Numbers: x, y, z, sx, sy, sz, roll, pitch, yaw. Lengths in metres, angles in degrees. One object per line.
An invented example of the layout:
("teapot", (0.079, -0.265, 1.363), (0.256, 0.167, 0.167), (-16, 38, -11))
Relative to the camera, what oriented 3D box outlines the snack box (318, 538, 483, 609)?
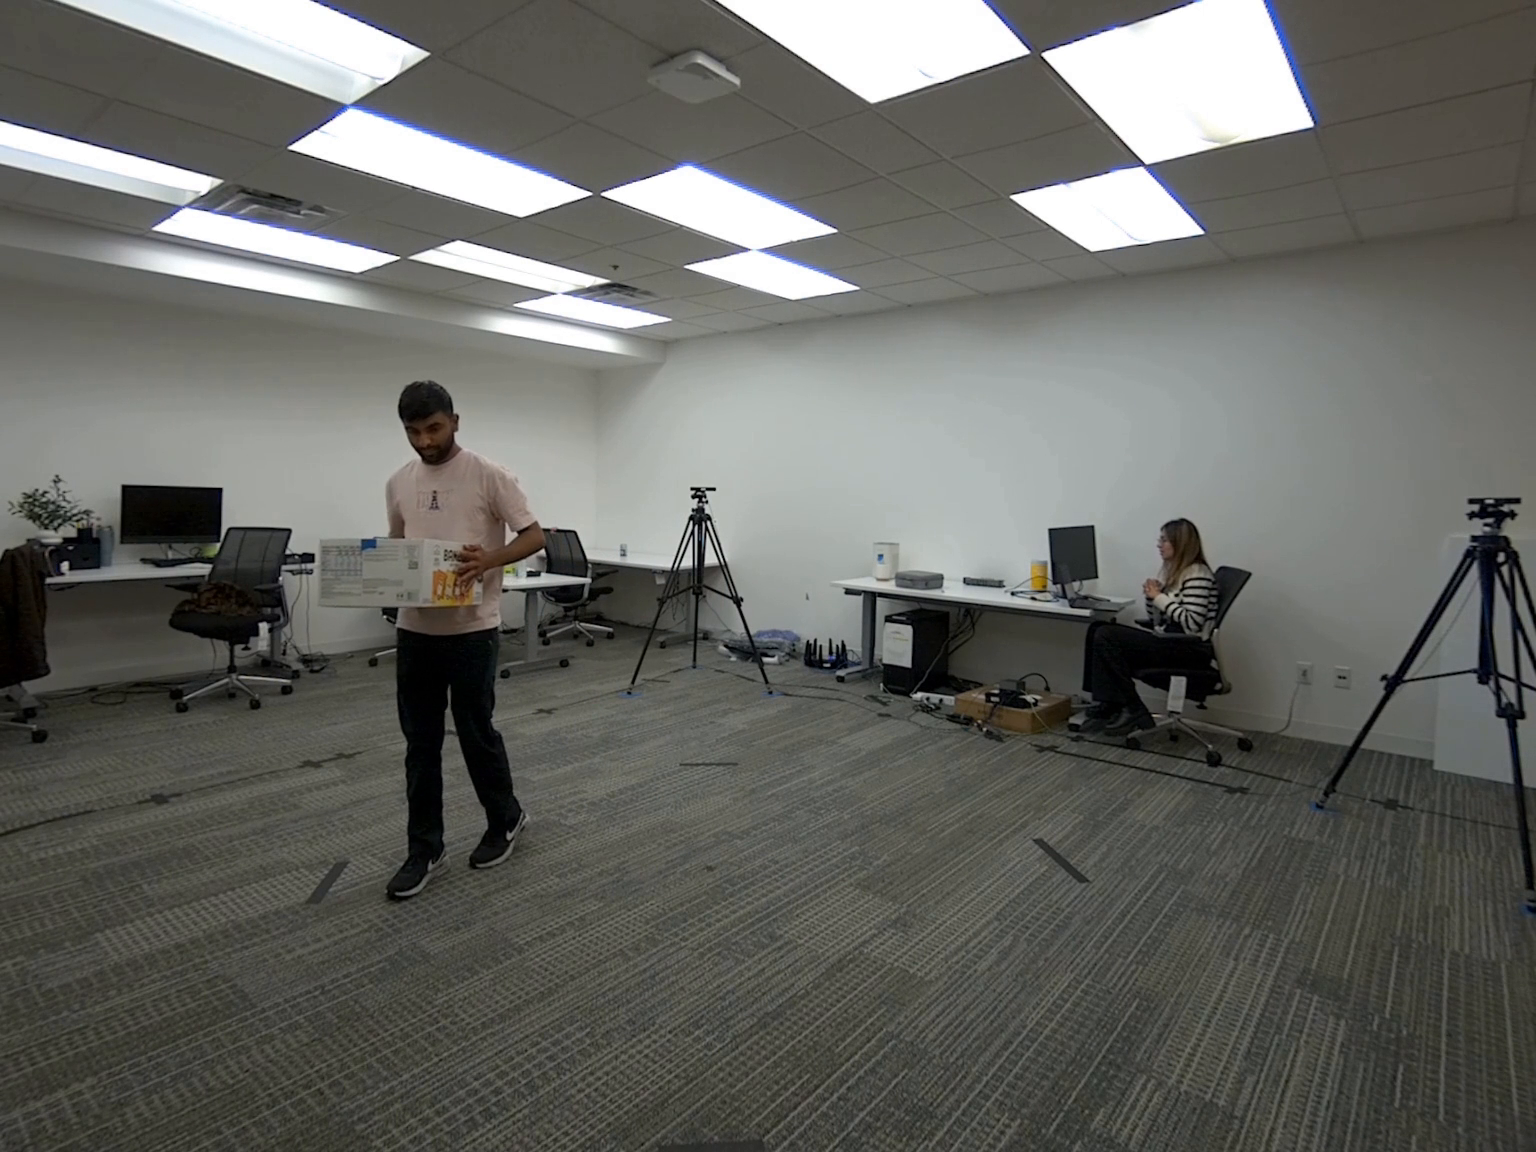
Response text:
("snack box", (-1.170, -0.007, 2.700), (0.343, 0.206, 0.401), (0, -1, 7))
